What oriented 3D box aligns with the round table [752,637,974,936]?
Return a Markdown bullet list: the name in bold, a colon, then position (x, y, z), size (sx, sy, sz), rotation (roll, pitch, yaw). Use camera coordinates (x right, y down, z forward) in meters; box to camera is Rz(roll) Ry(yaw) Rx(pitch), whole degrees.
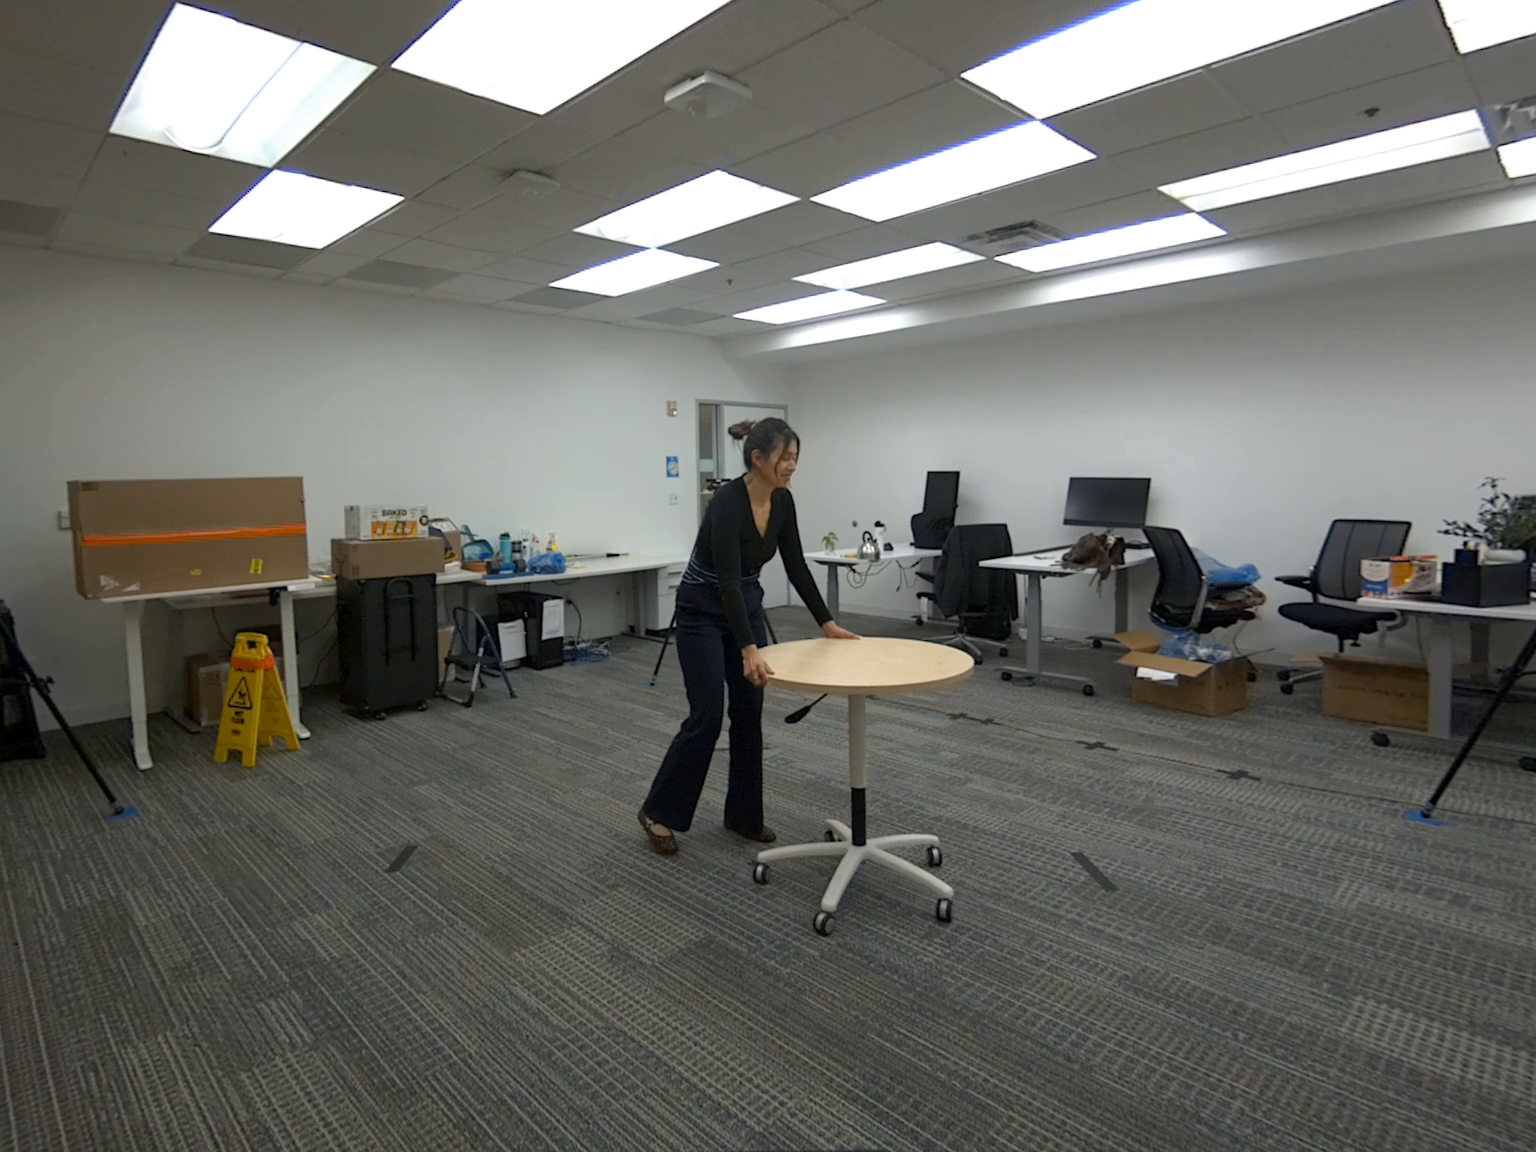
- **round table**: position (0.306, 0.671, 2.906), size (0.763, 0.791, 0.768), rotation (-1, 5, -2)
